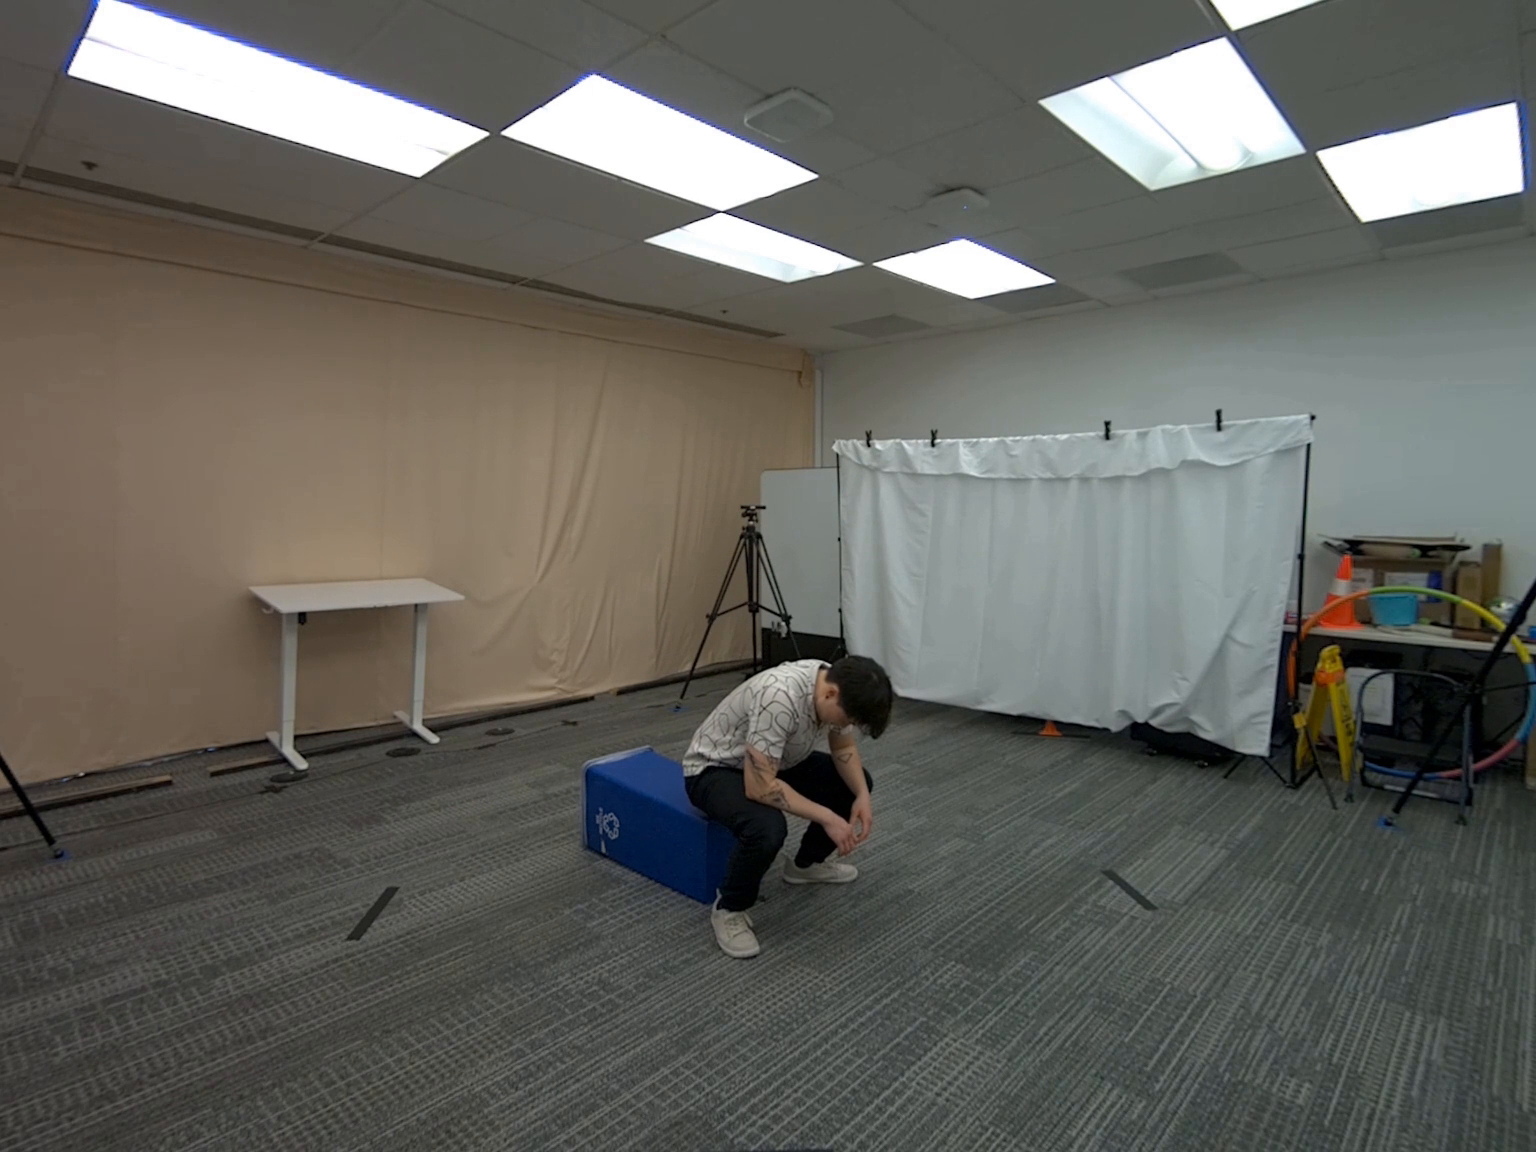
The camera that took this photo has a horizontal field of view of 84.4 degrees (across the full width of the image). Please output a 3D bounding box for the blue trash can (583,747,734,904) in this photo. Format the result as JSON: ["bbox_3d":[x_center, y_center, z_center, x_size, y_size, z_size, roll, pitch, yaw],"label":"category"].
[{"bbox_3d":[-0.368,0.949,3.268,0.362,0.377,0.738,-4,7,-44],"label":"blue trash can"}]
